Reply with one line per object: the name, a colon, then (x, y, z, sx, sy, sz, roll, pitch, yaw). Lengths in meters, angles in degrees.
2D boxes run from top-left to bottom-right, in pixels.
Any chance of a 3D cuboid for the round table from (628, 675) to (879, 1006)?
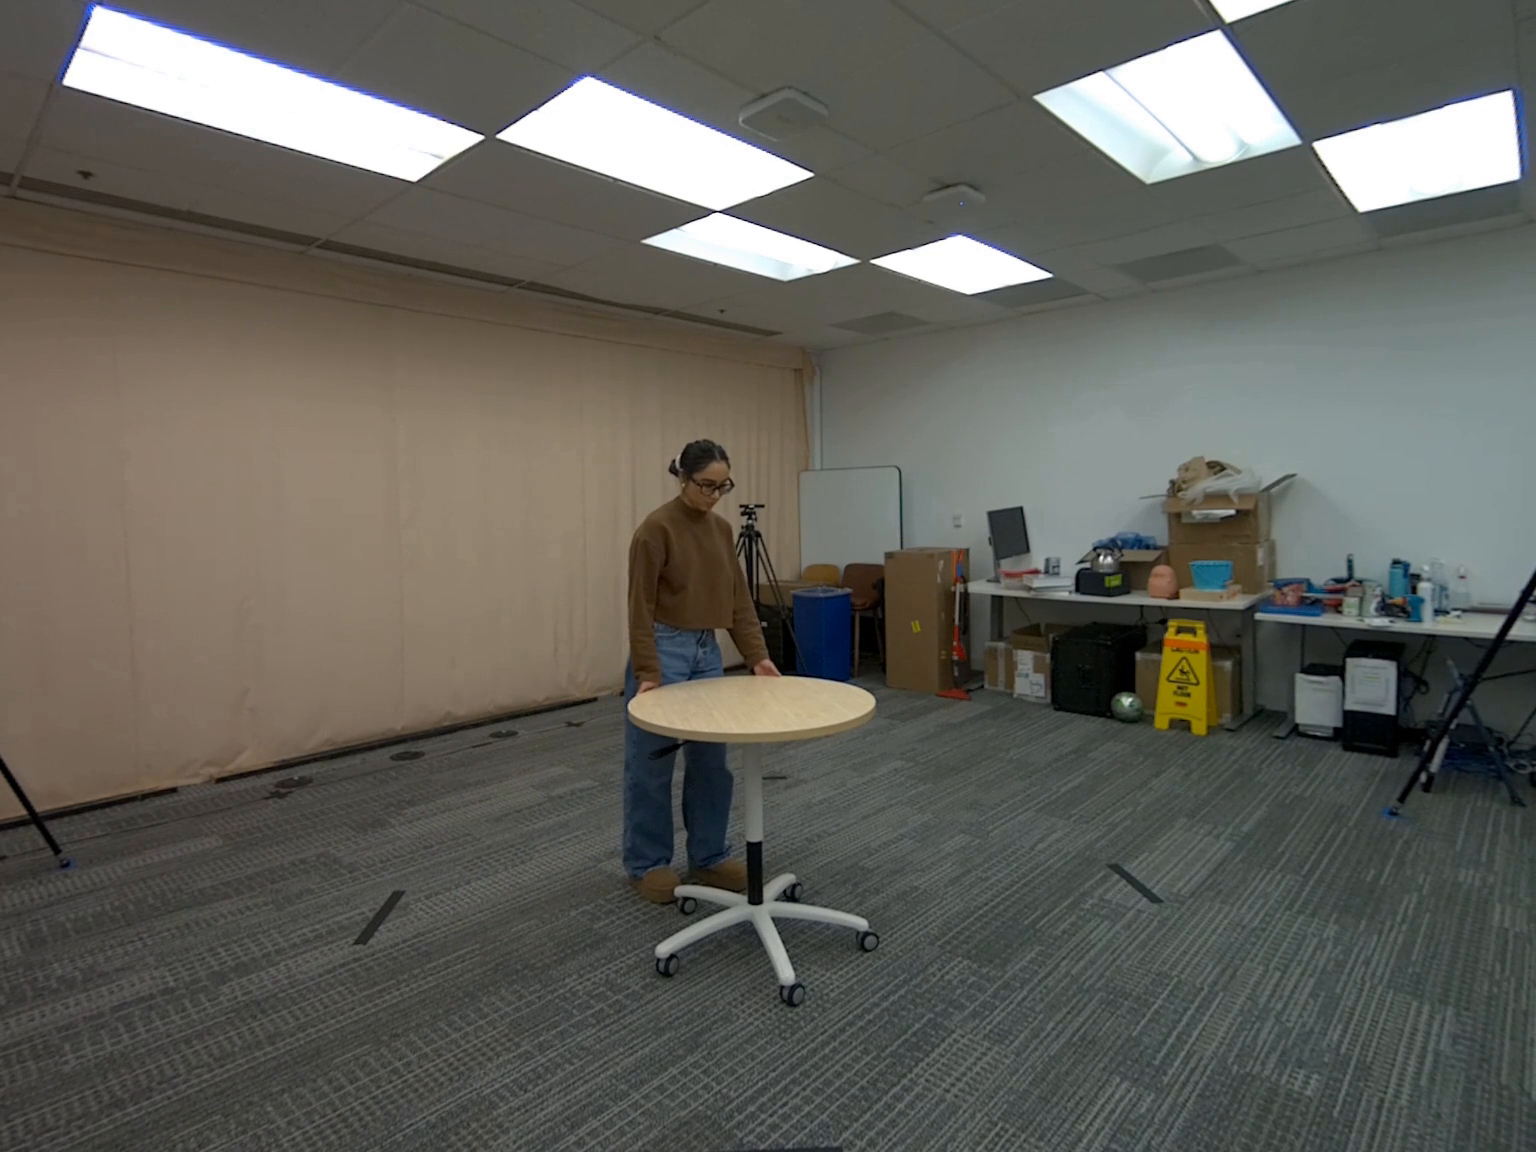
round table: (-0.040, 0.780, 2.644, 0.763, 0.792, 0.766, -1, 4, -2)
